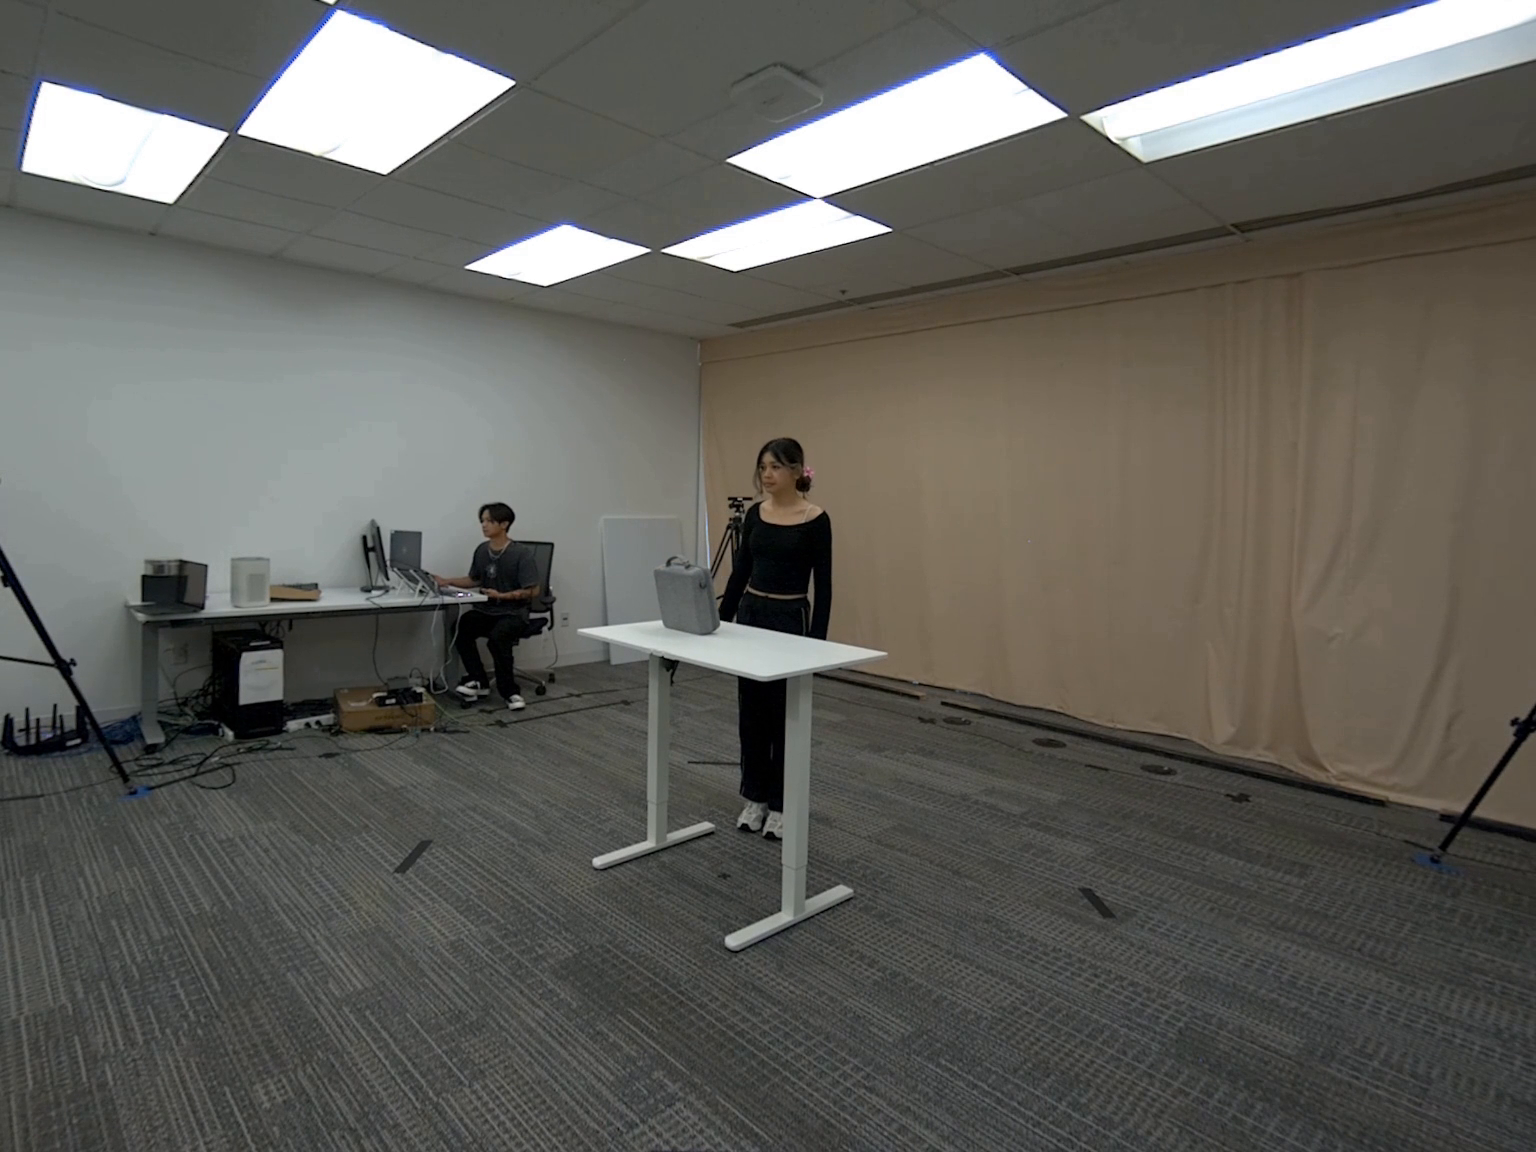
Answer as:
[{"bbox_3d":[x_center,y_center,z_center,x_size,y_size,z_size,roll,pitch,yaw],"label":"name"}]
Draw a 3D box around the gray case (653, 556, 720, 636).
[{"bbox_3d":[-0.318,0.081,3.185,0.103,0.258,0.263,-18,15,-38],"label":"gray case"}]
